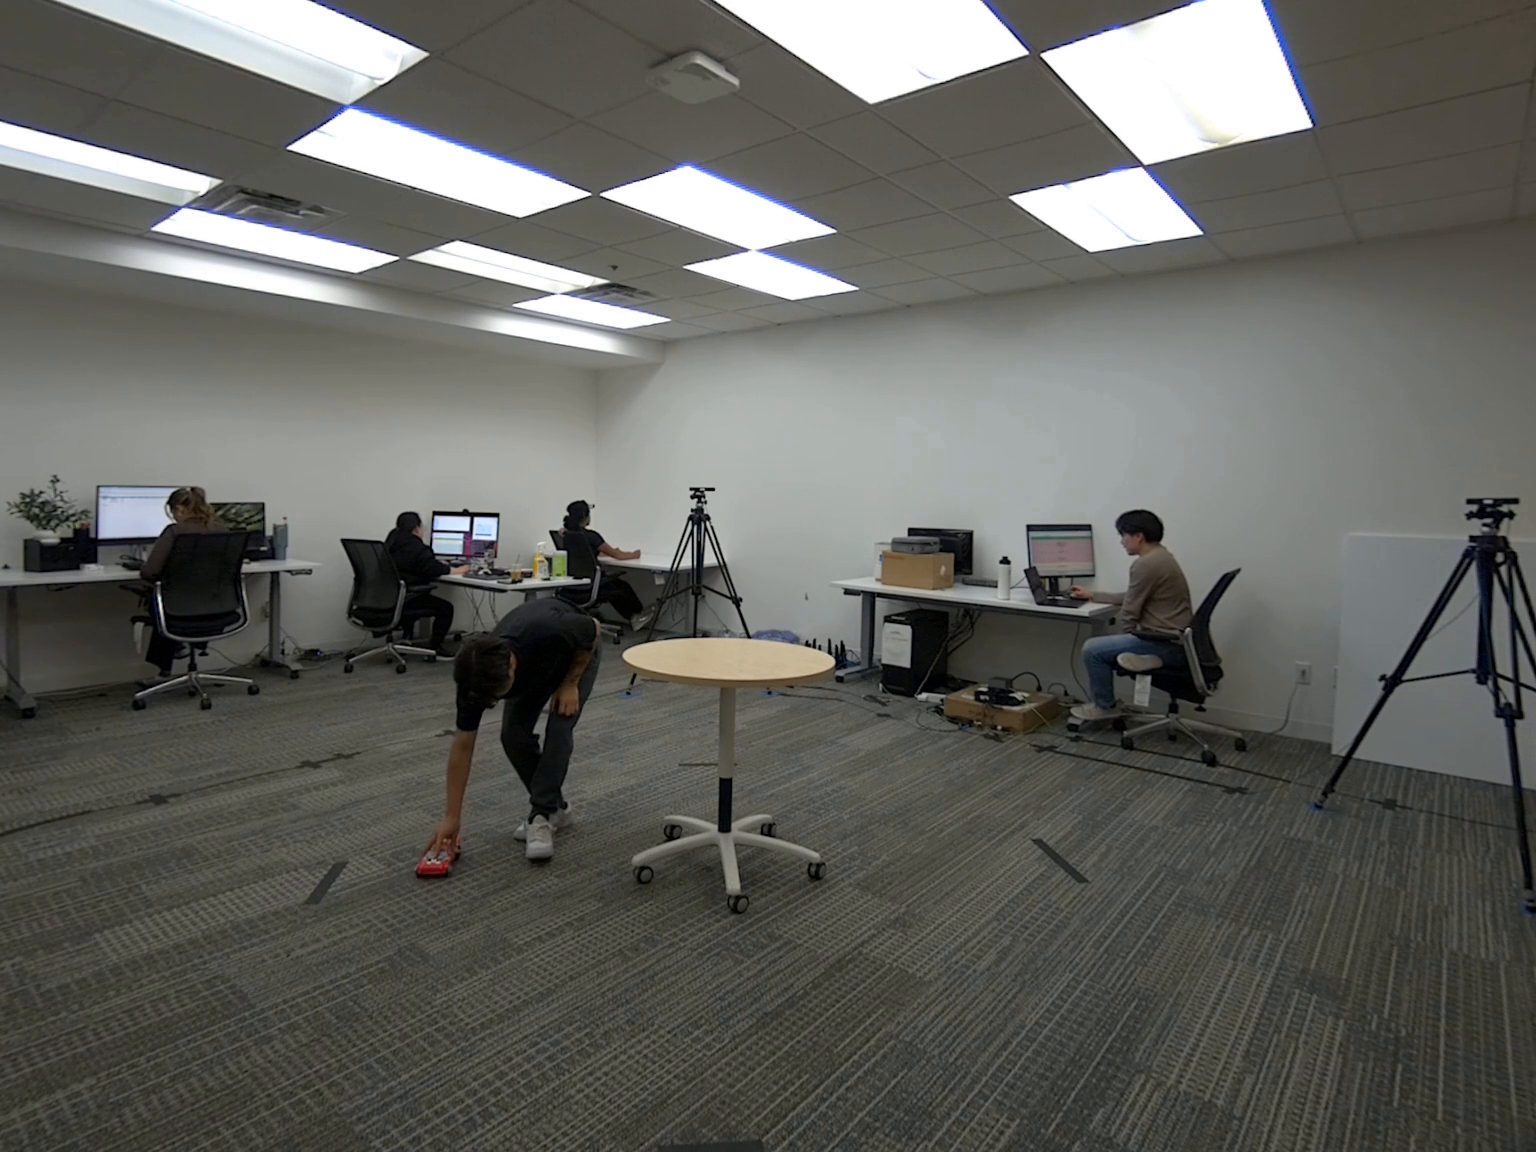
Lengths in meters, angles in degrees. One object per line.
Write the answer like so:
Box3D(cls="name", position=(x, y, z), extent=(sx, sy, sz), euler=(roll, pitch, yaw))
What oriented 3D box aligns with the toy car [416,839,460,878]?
Box3D(cls="toy car", position=(-1.210, 1.023, 3.107), extent=(0.129, 0.082, 0.260), euler=(-1, 16, -8))
